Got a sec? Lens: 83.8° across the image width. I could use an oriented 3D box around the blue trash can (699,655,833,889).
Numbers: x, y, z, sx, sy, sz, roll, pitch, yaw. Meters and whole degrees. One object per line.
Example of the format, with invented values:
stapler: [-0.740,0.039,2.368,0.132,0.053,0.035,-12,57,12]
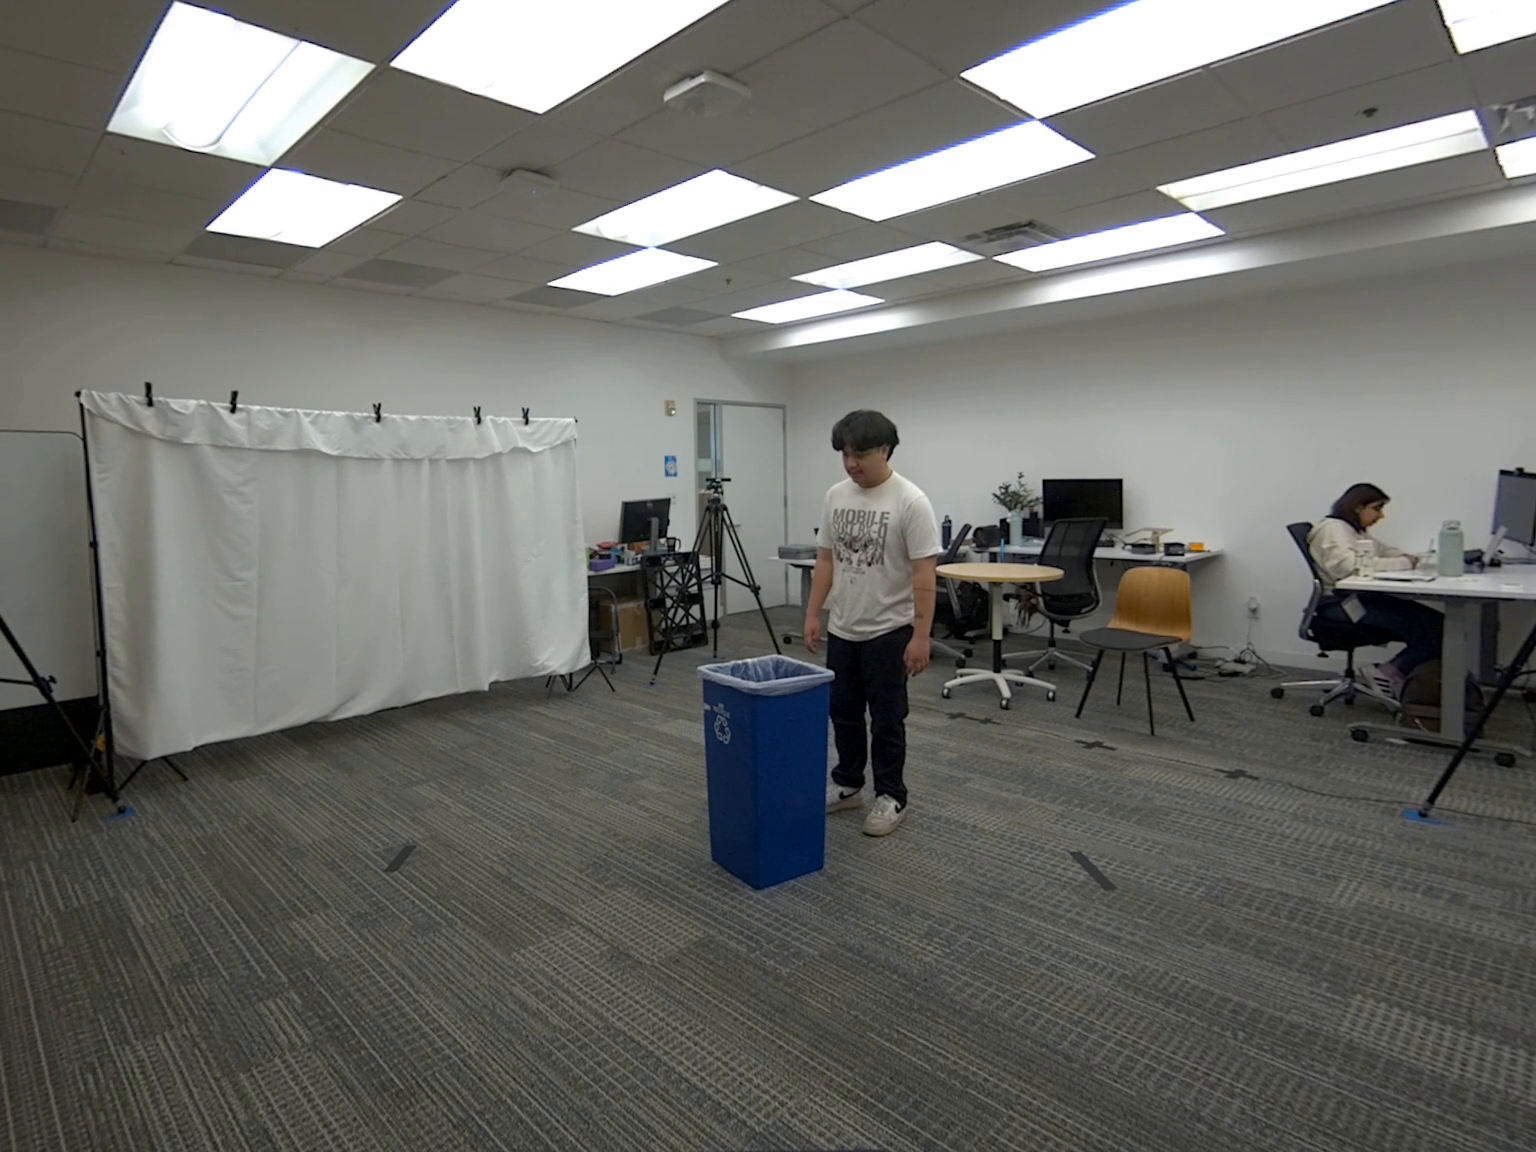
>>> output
blue trash can: [0.001,0.685,3.068,0.368,0.711,0.385,-4,5,-35]
